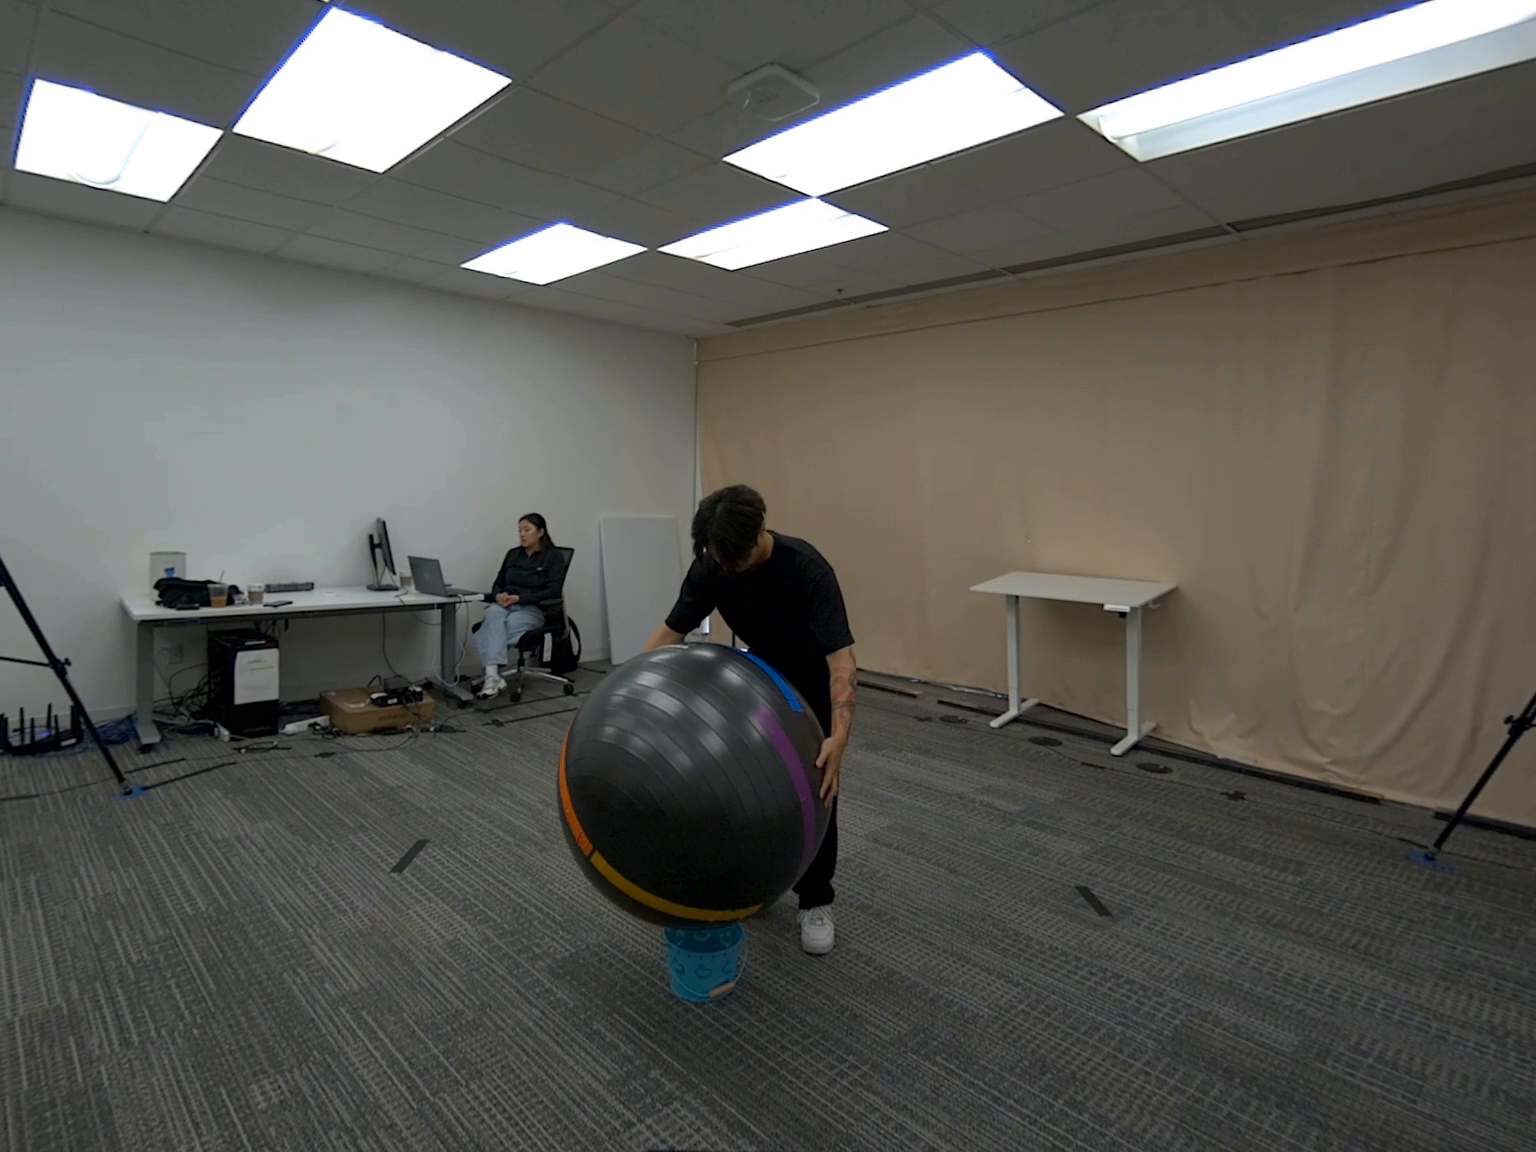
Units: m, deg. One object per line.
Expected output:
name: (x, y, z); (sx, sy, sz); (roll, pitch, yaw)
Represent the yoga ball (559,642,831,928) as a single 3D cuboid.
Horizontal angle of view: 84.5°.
yoga ball: (-0.207, 0.570, 2.324); (0.757, 0.756, 0.761); (1, 4, -1)
